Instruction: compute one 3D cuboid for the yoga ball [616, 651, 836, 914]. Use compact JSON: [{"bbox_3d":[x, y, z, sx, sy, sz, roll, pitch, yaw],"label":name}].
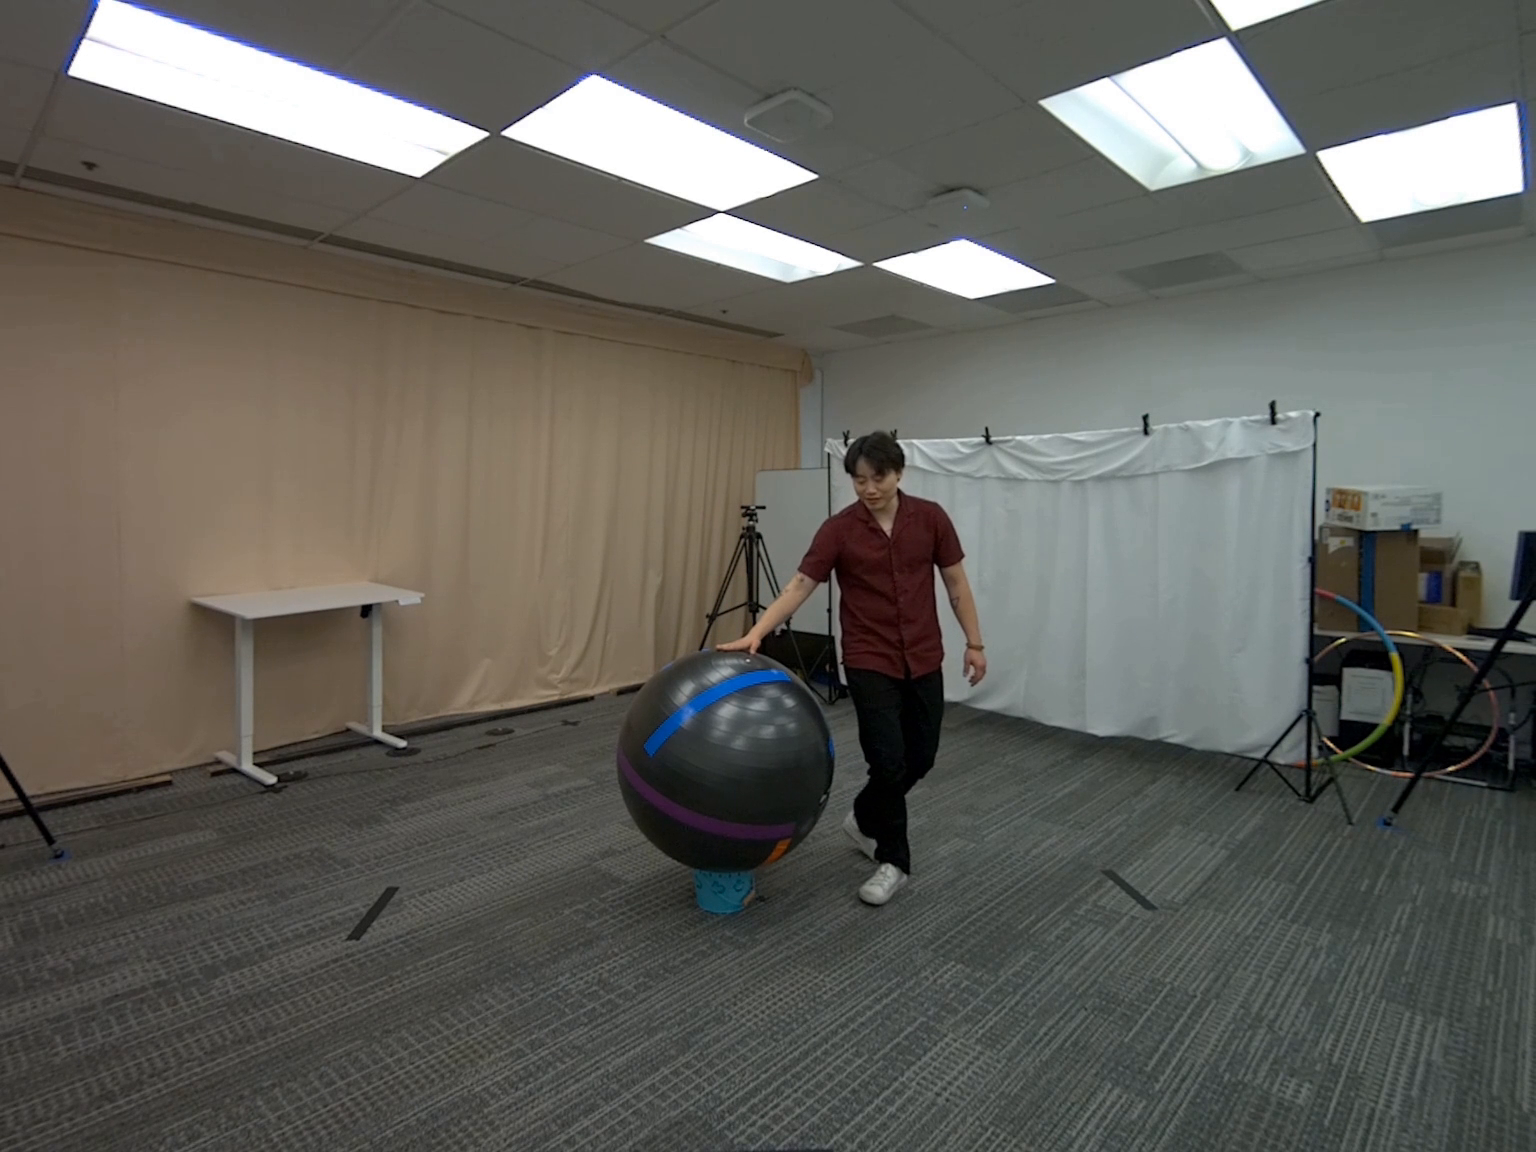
[{"bbox_3d":[-0.148,0.640,2.942,0.757,0.756,0.760,0,4,-2],"label":"yoga ball"}]
